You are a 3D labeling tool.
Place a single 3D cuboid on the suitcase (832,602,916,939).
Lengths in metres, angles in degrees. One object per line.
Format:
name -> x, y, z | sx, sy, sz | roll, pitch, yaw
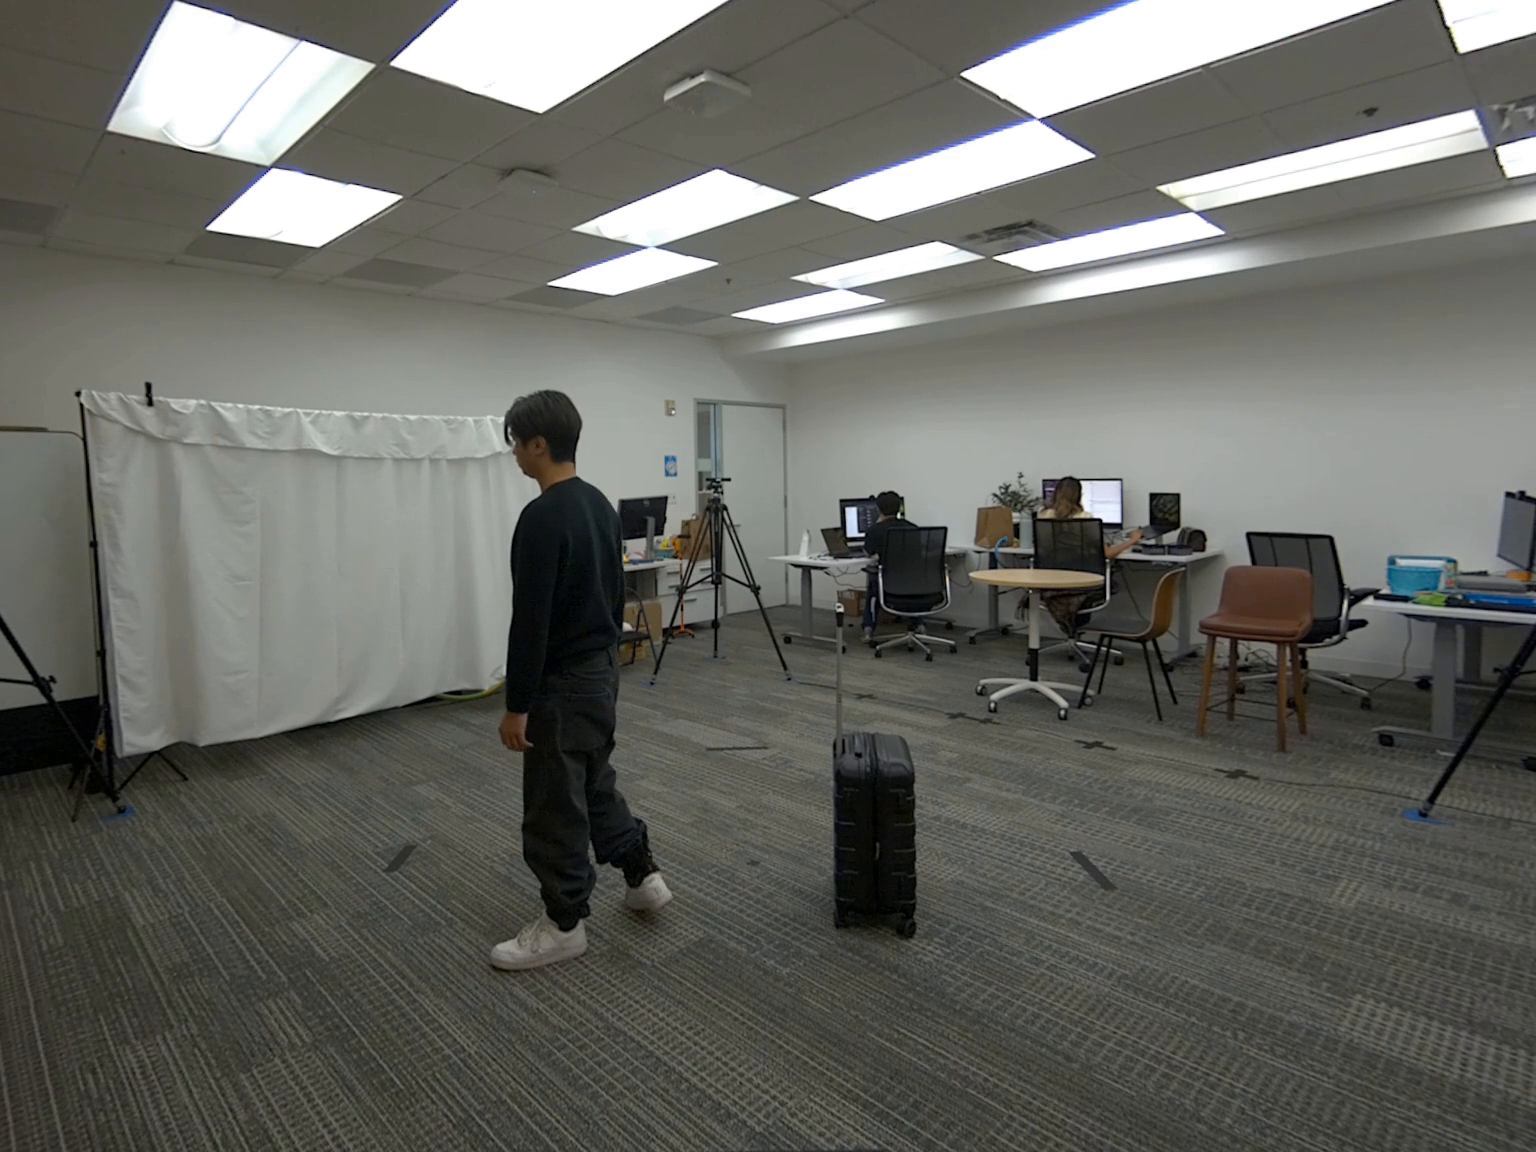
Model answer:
suitcase -> 0.342, 0.598, 2.737 | 0.258, 0.975, 0.383 | 0, 4, 5
